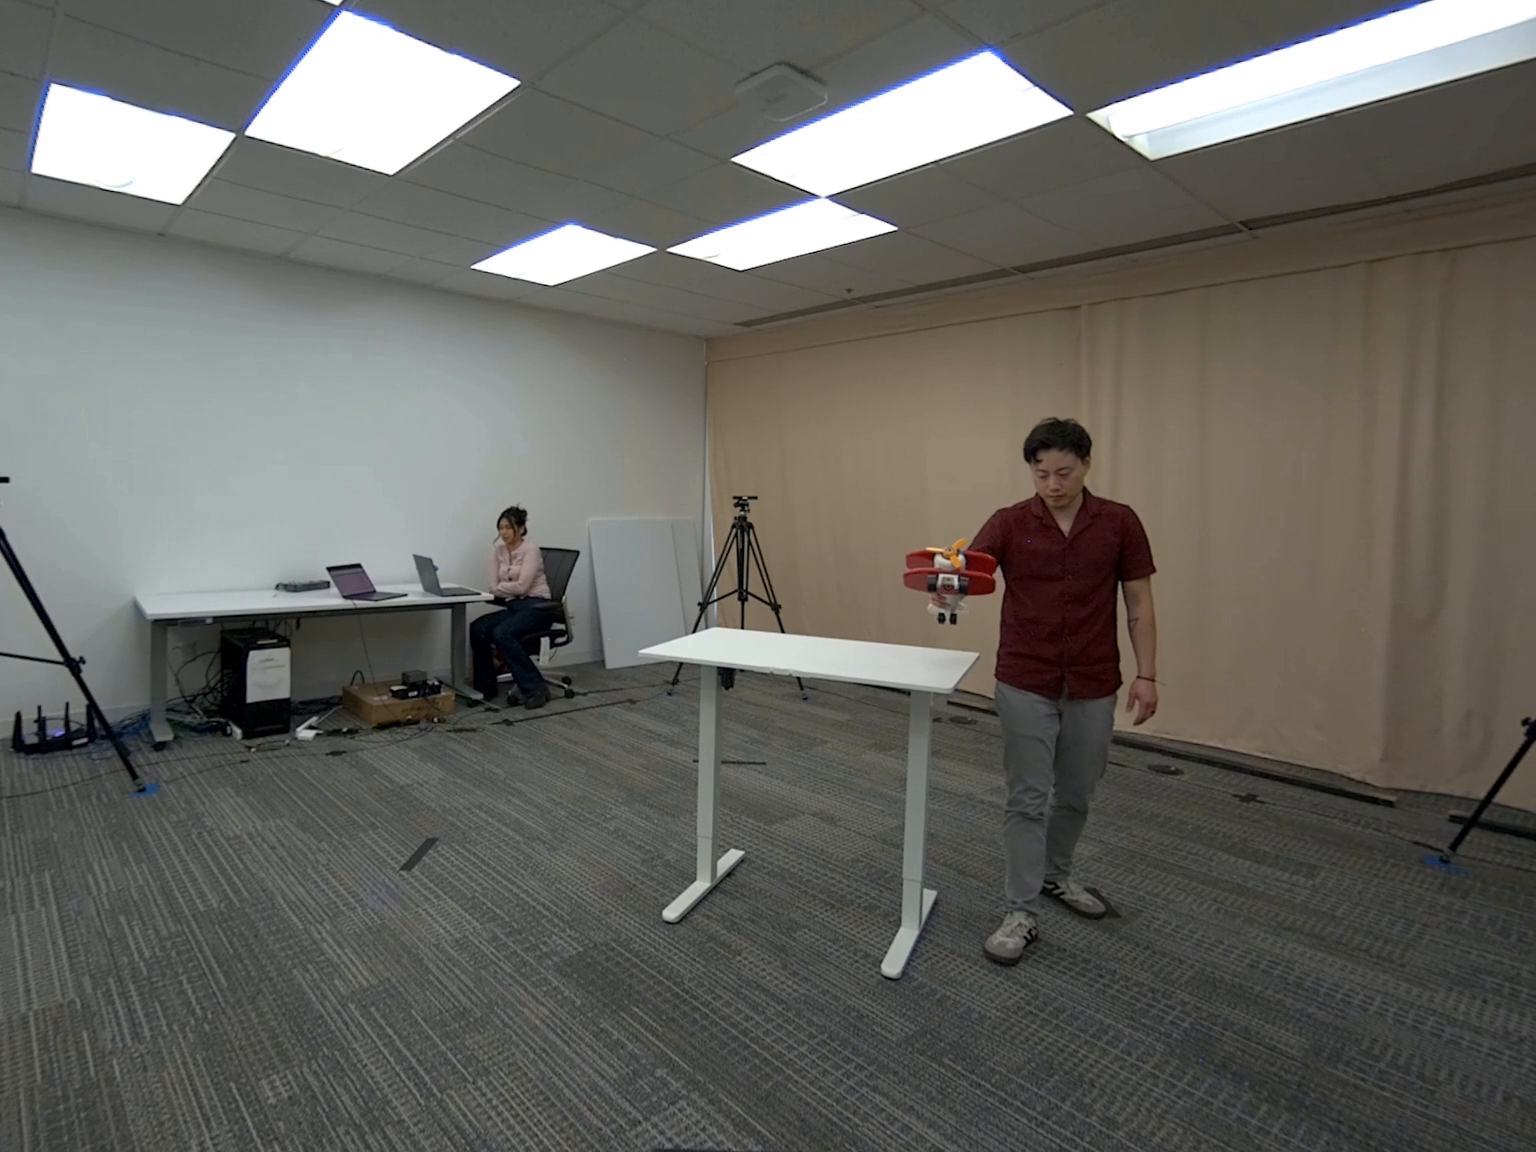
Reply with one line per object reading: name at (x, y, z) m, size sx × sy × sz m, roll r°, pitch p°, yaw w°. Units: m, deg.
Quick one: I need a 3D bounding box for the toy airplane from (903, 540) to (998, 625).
toy airplane at (0.505, 0.023, 2.432) m, size 0.249 × 0.159 × 0.257 m, roll 17°, pitch -31°, yaw -10°
